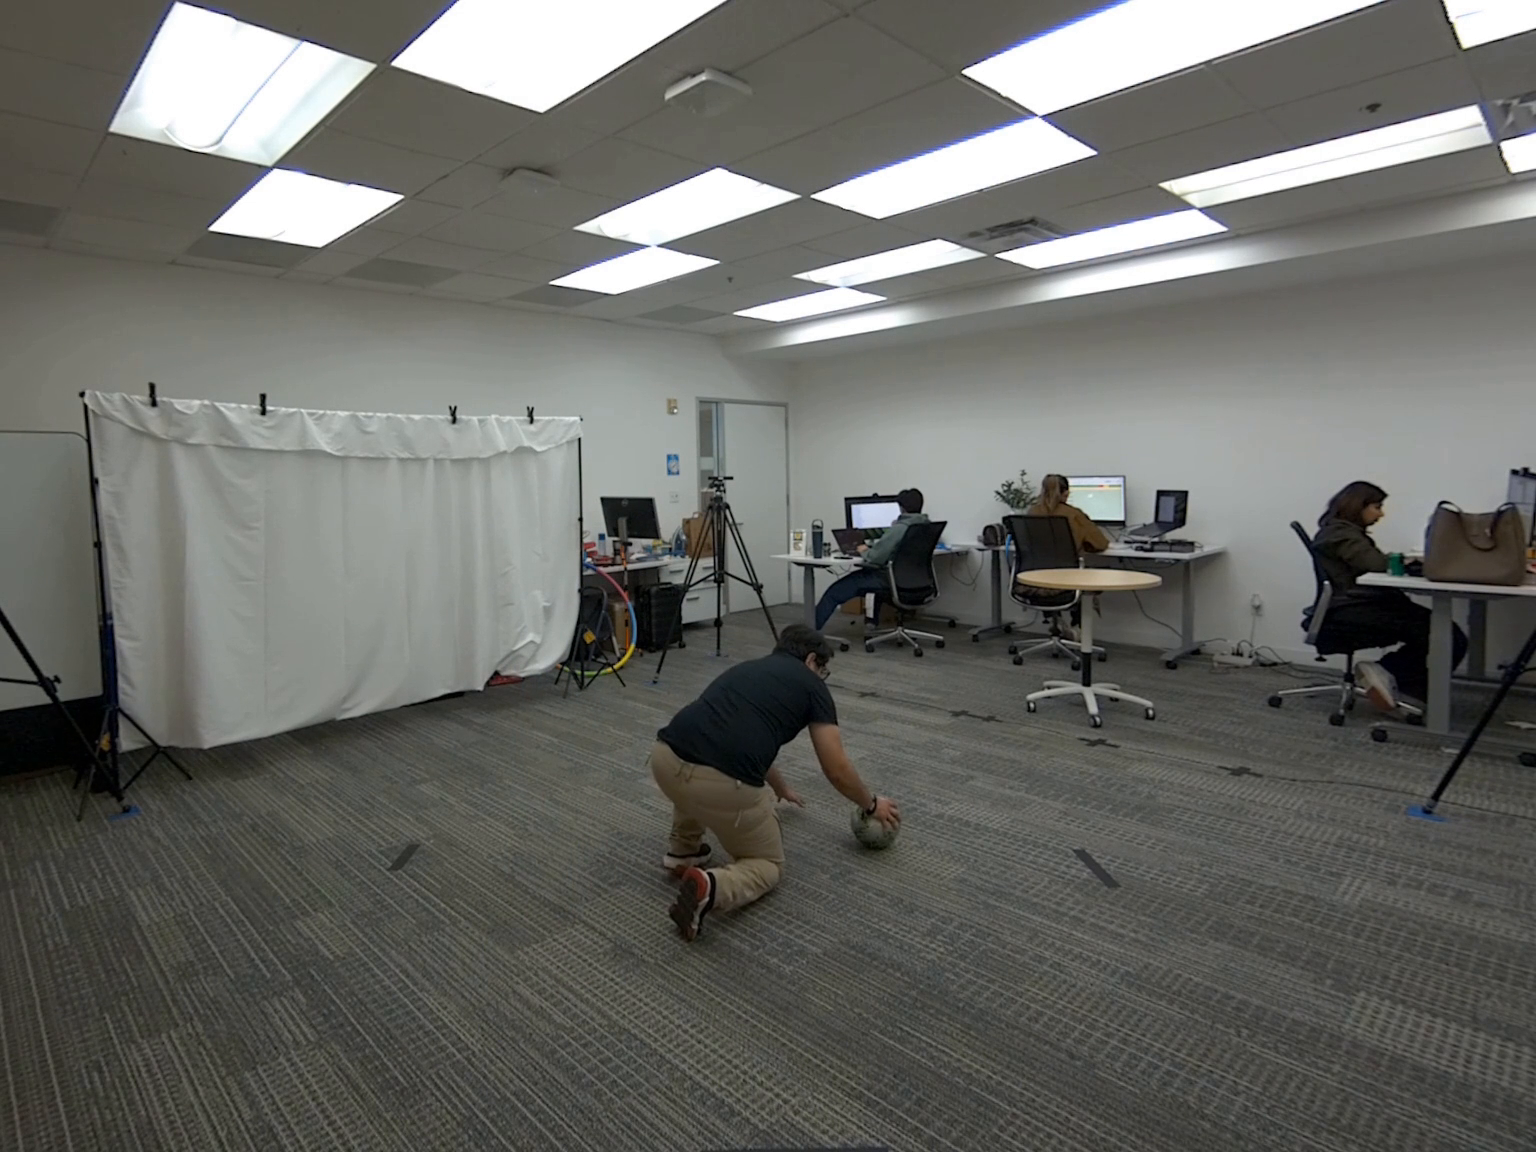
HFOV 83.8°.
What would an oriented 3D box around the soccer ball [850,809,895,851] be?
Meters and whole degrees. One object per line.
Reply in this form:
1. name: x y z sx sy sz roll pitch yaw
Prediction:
1. soccer ball: 0.403 0.913 3.209 0.187 0.187 0.188 -1 5 -2
